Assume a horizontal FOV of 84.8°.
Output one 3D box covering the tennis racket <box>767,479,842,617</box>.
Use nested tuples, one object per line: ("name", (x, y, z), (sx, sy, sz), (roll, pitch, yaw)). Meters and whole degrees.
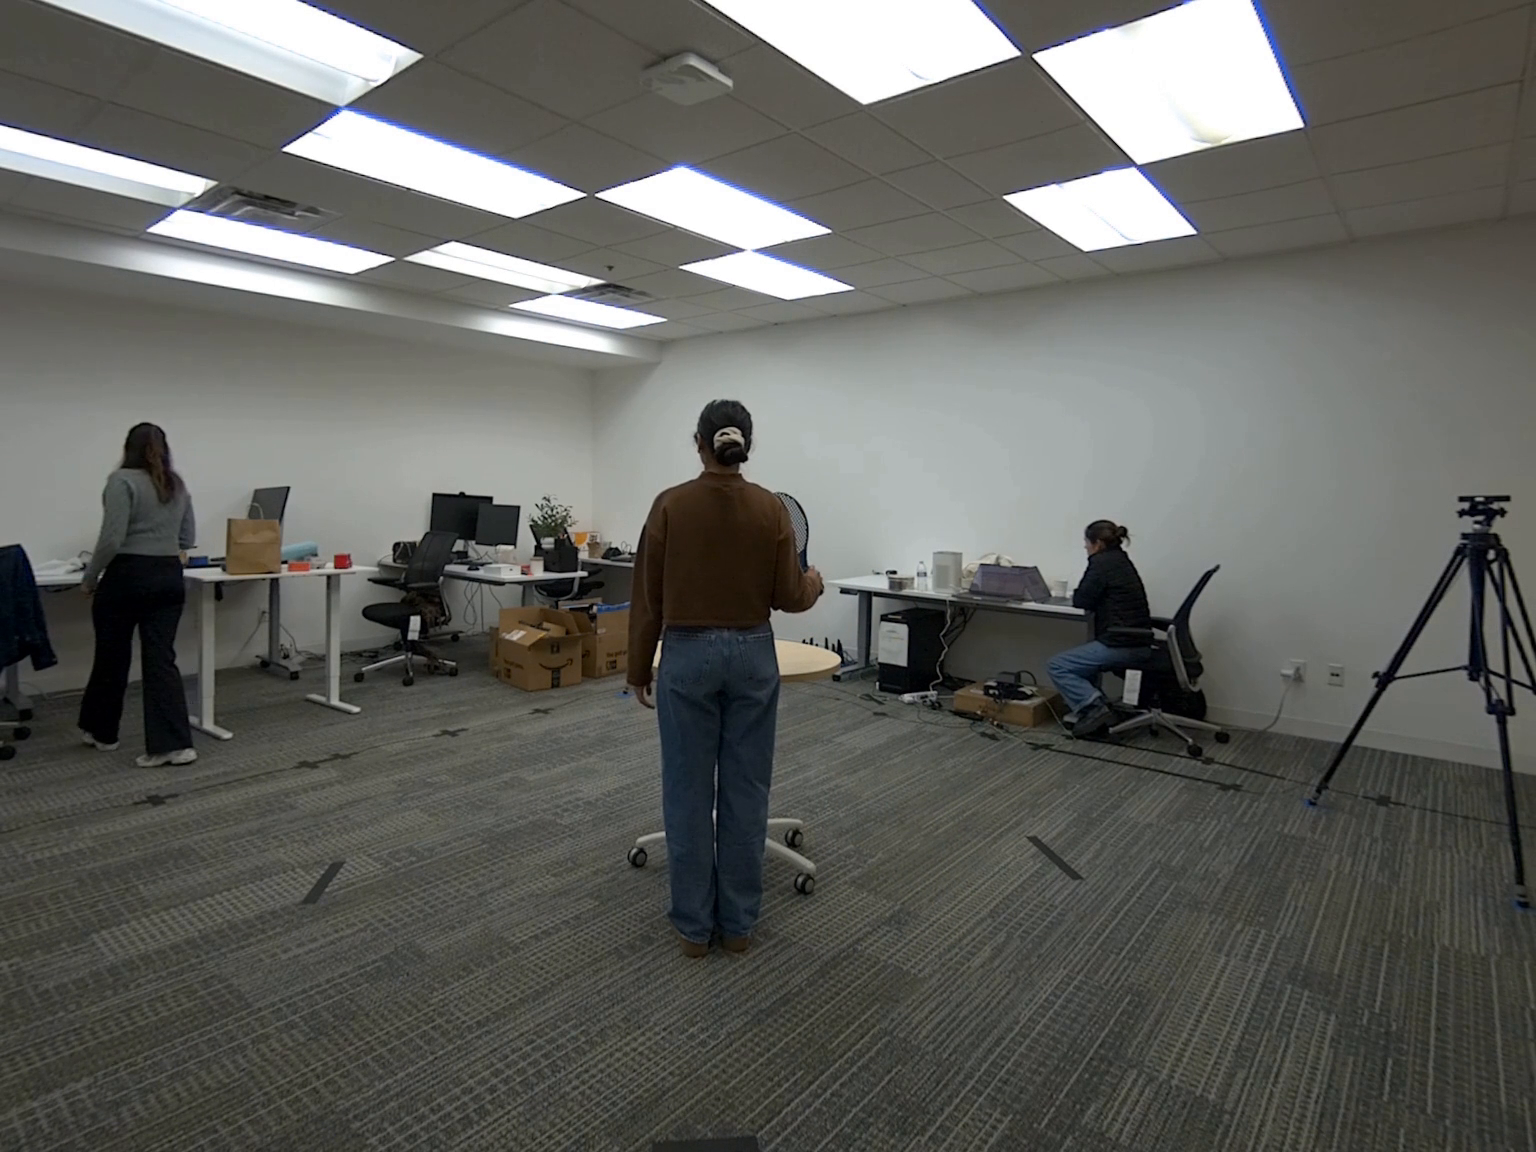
("tennis racket", (0.074, -0.094, 2.842), (0.213, 0.418, 0.033), (-44, 29, -19))
